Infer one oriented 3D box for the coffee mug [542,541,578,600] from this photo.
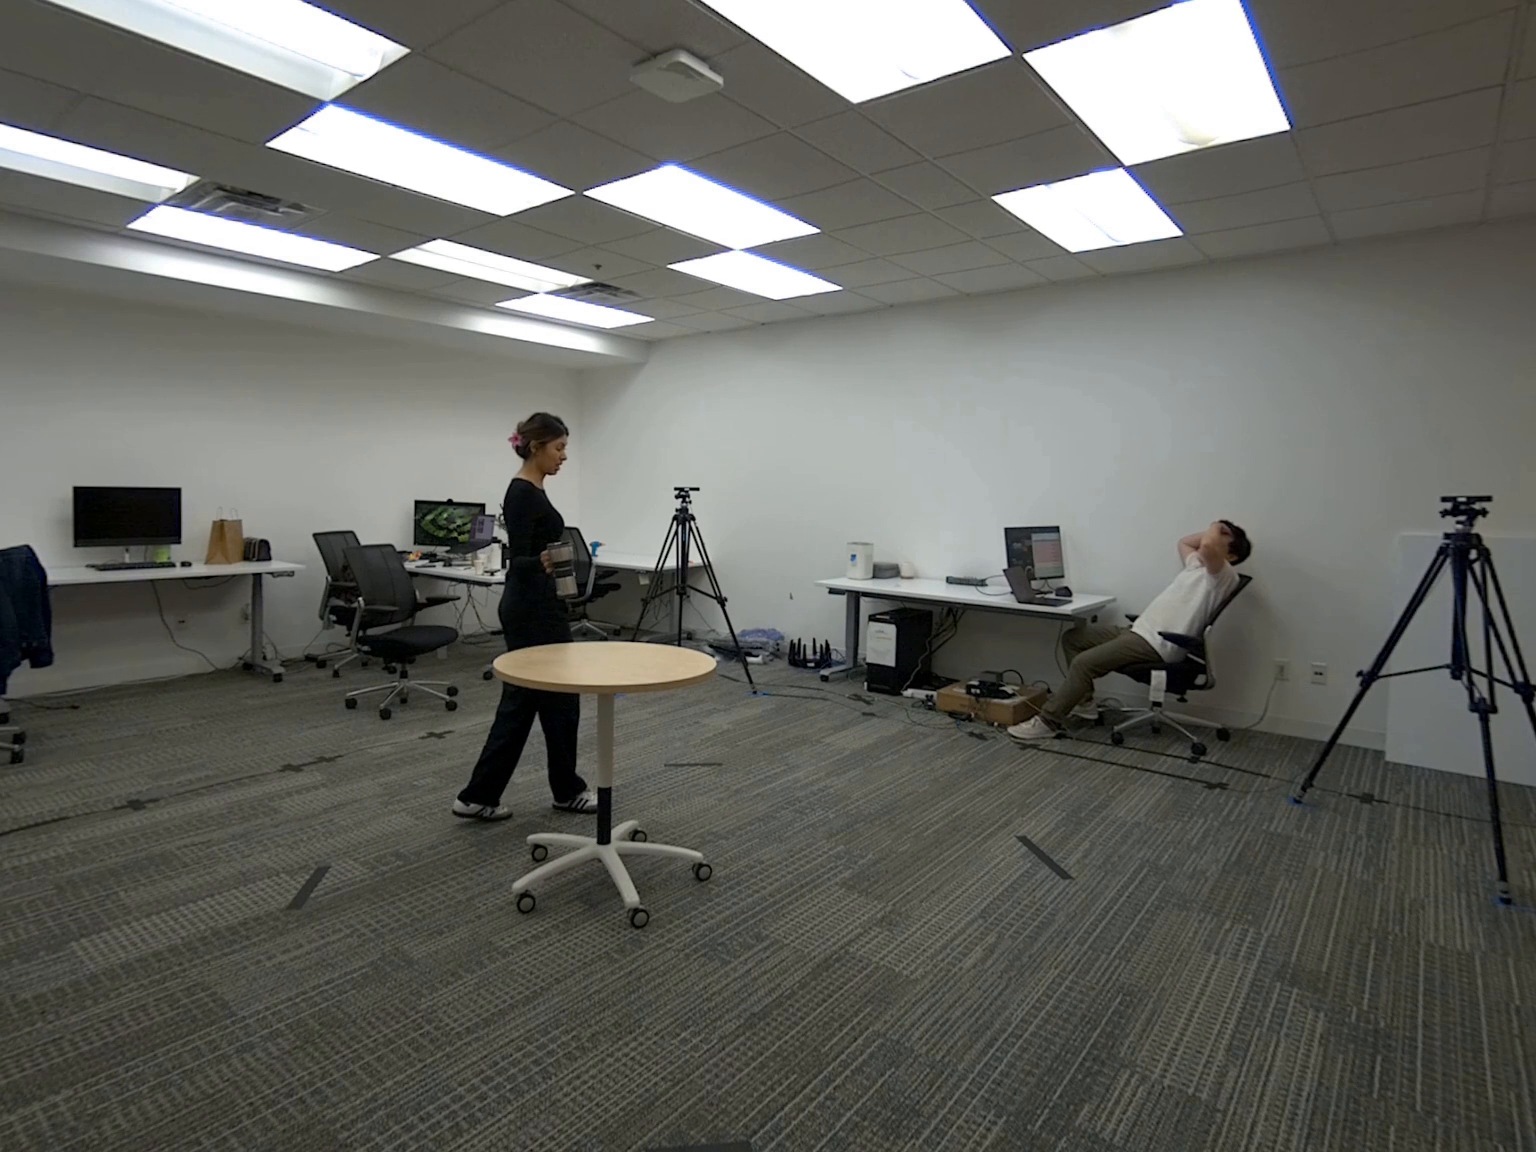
[{"bbox_3d":[-0.759,-0.023,3.075,0.086,0.202,0.125,-8,3,-29],"label":"coffee mug"}]
